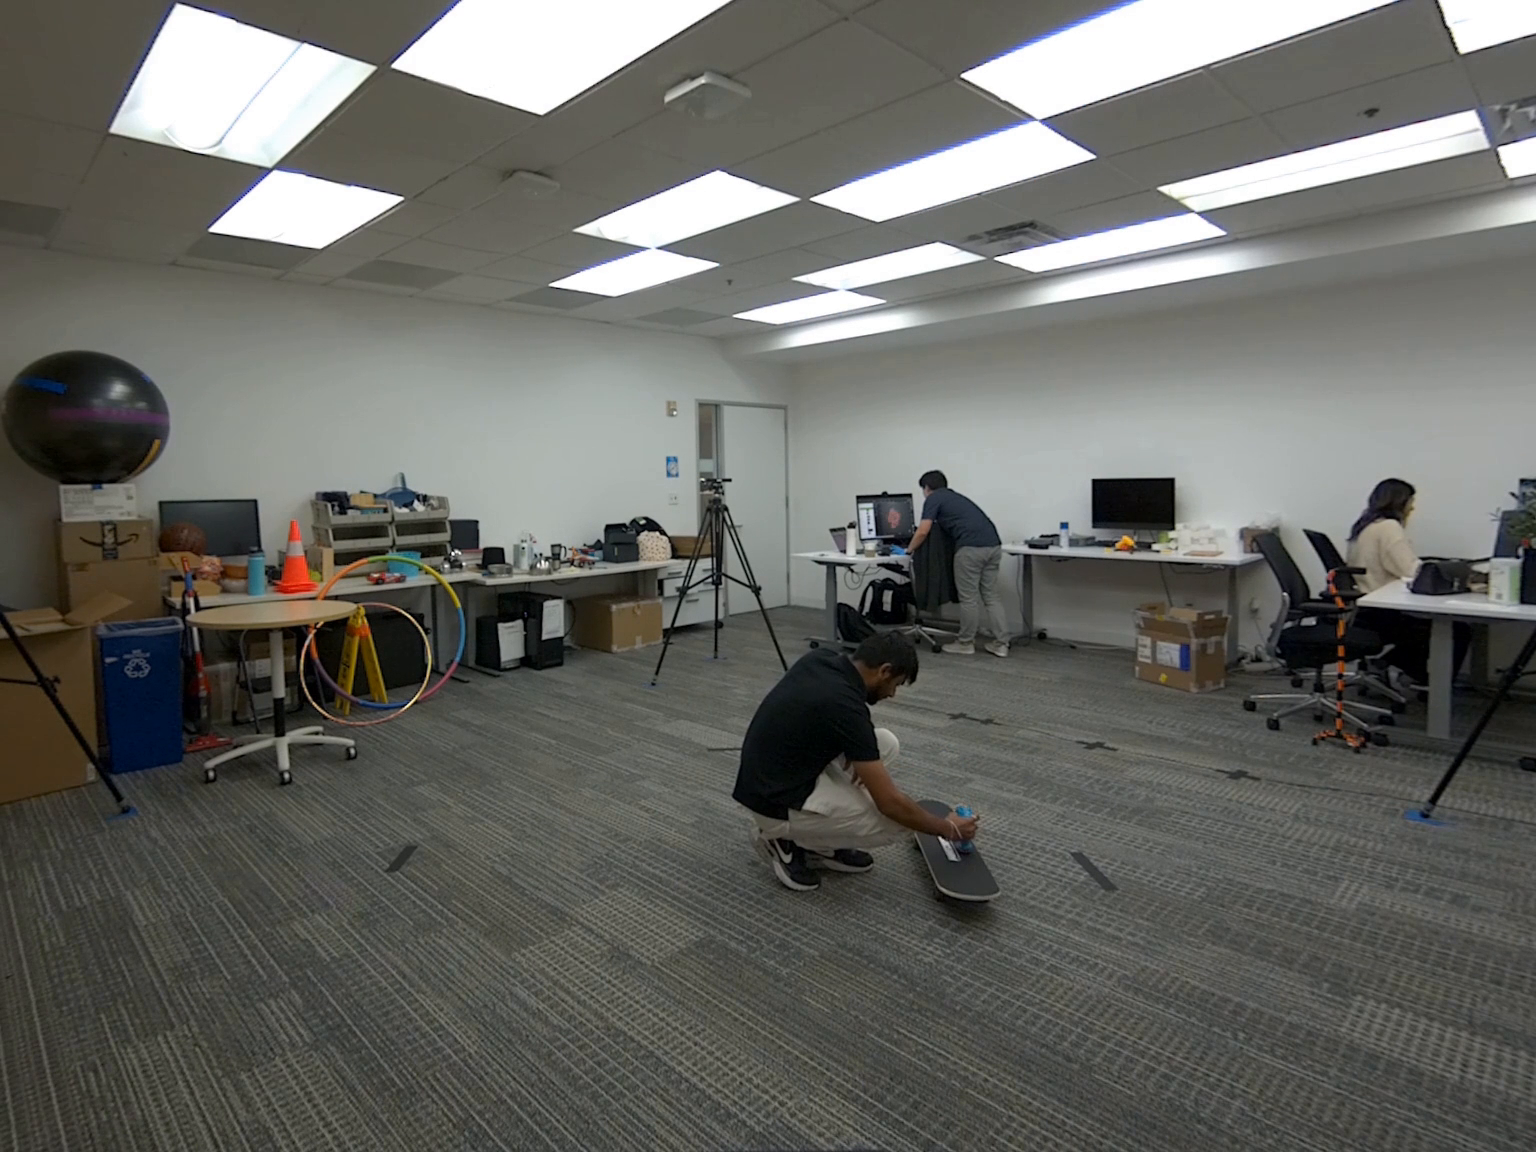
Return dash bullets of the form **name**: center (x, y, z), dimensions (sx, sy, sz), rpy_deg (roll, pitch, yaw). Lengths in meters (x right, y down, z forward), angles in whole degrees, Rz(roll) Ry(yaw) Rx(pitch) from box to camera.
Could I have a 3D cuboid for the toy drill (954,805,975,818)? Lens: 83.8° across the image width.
- **toy drill**: center (0.688, 0.870, 3.015), dimensions (0.061, 0.145, 0.170), rpy_deg (1, 5, -1)
